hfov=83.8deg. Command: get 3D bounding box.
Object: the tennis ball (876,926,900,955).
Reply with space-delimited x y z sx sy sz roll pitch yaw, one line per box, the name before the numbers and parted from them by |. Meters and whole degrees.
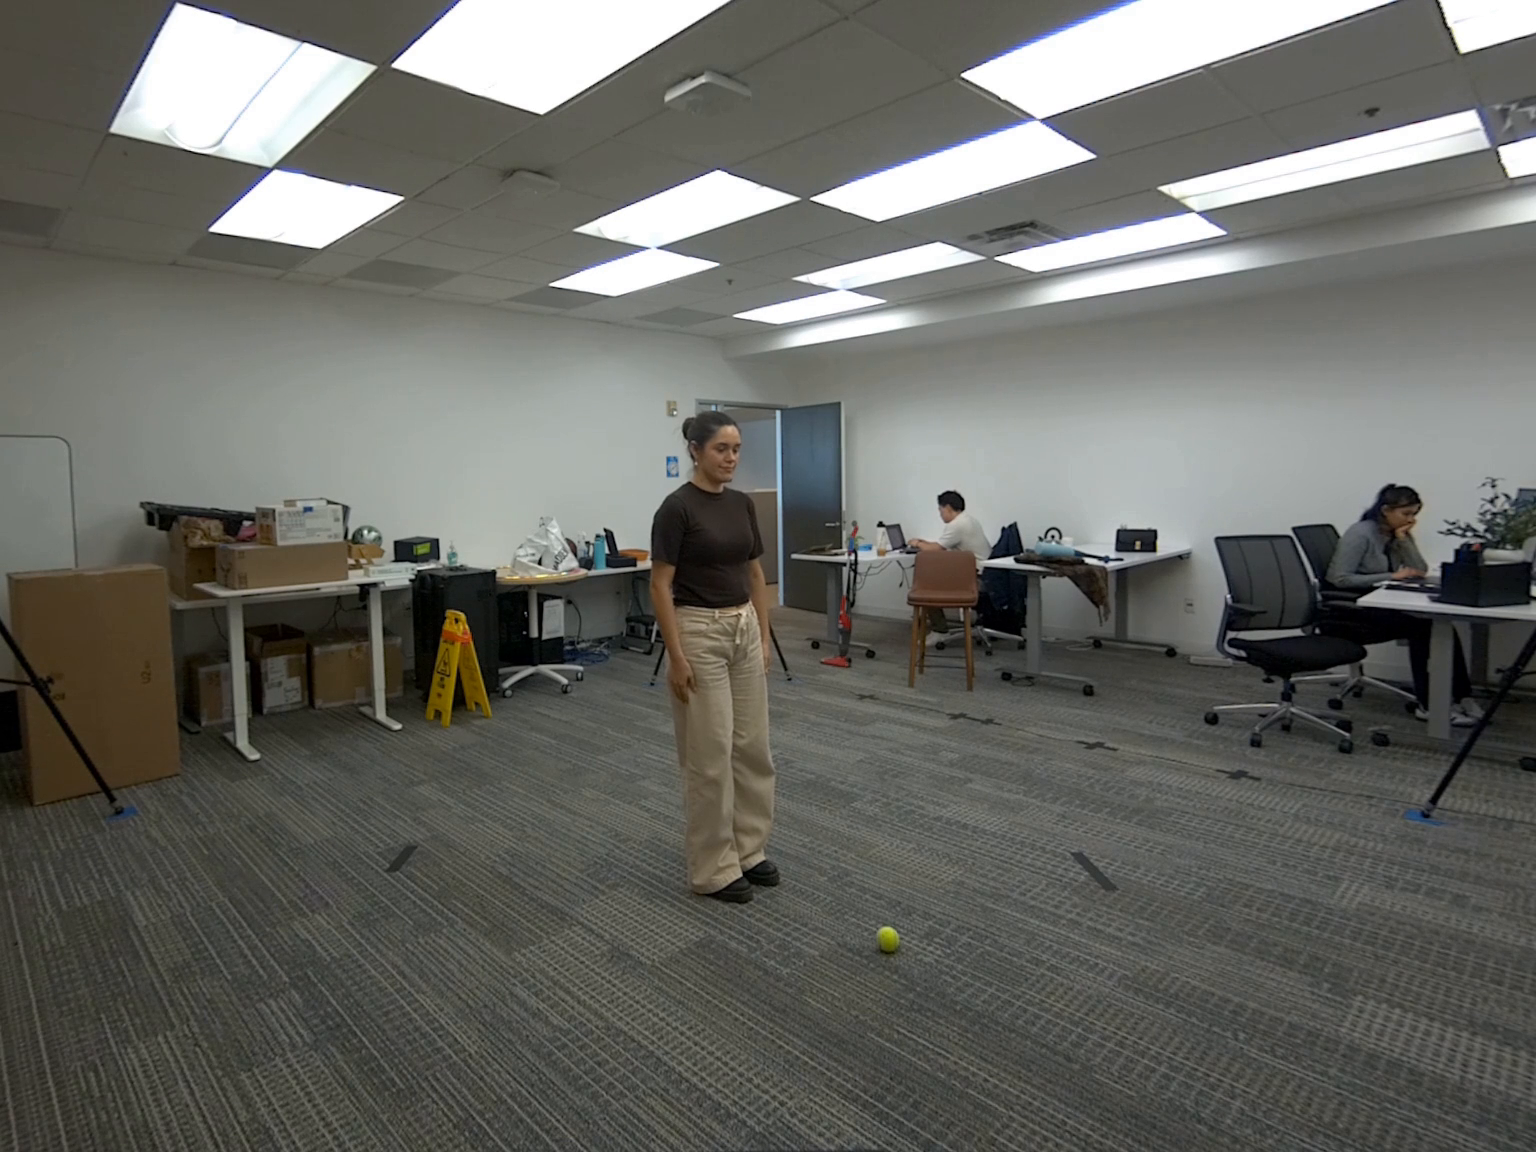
tennis ball | 0.359 1.057 2.513 0.066 0.066 0.067 -1 5 -2
